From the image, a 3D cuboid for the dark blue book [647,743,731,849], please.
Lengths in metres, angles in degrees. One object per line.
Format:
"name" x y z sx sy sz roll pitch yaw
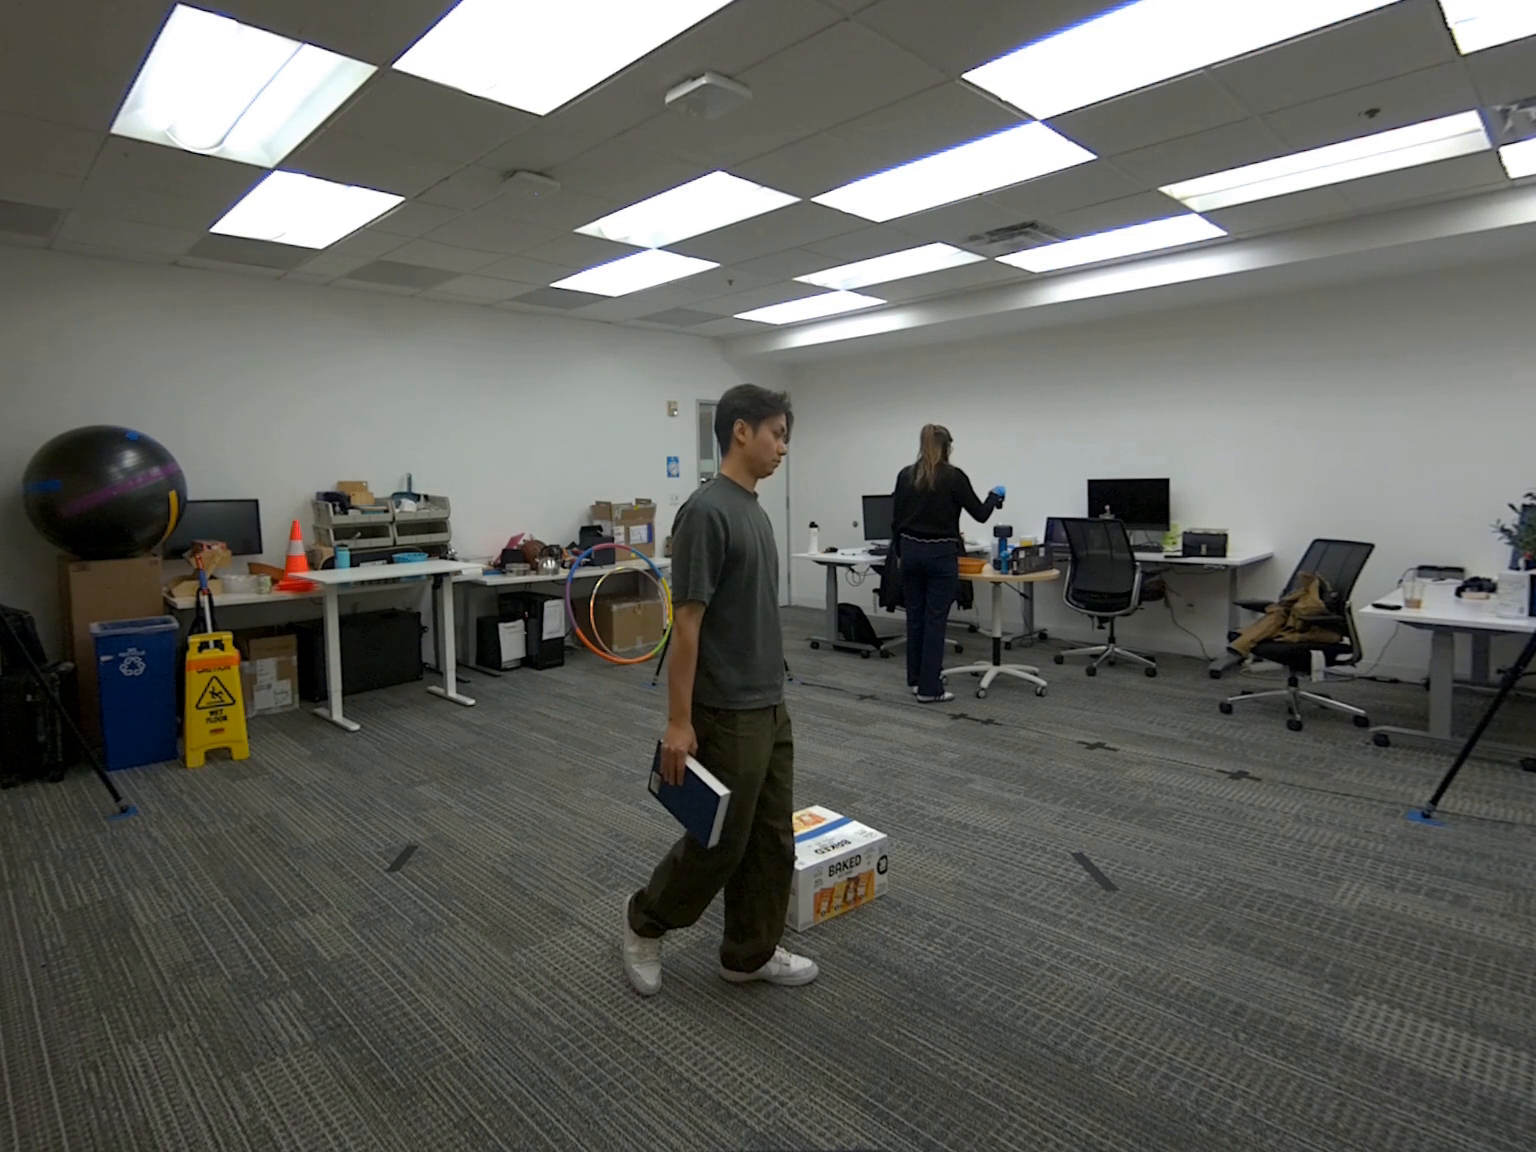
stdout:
"dark blue book" -0.193 0.532 2.117 0.044 0.161 0.255 -6 28 -42
